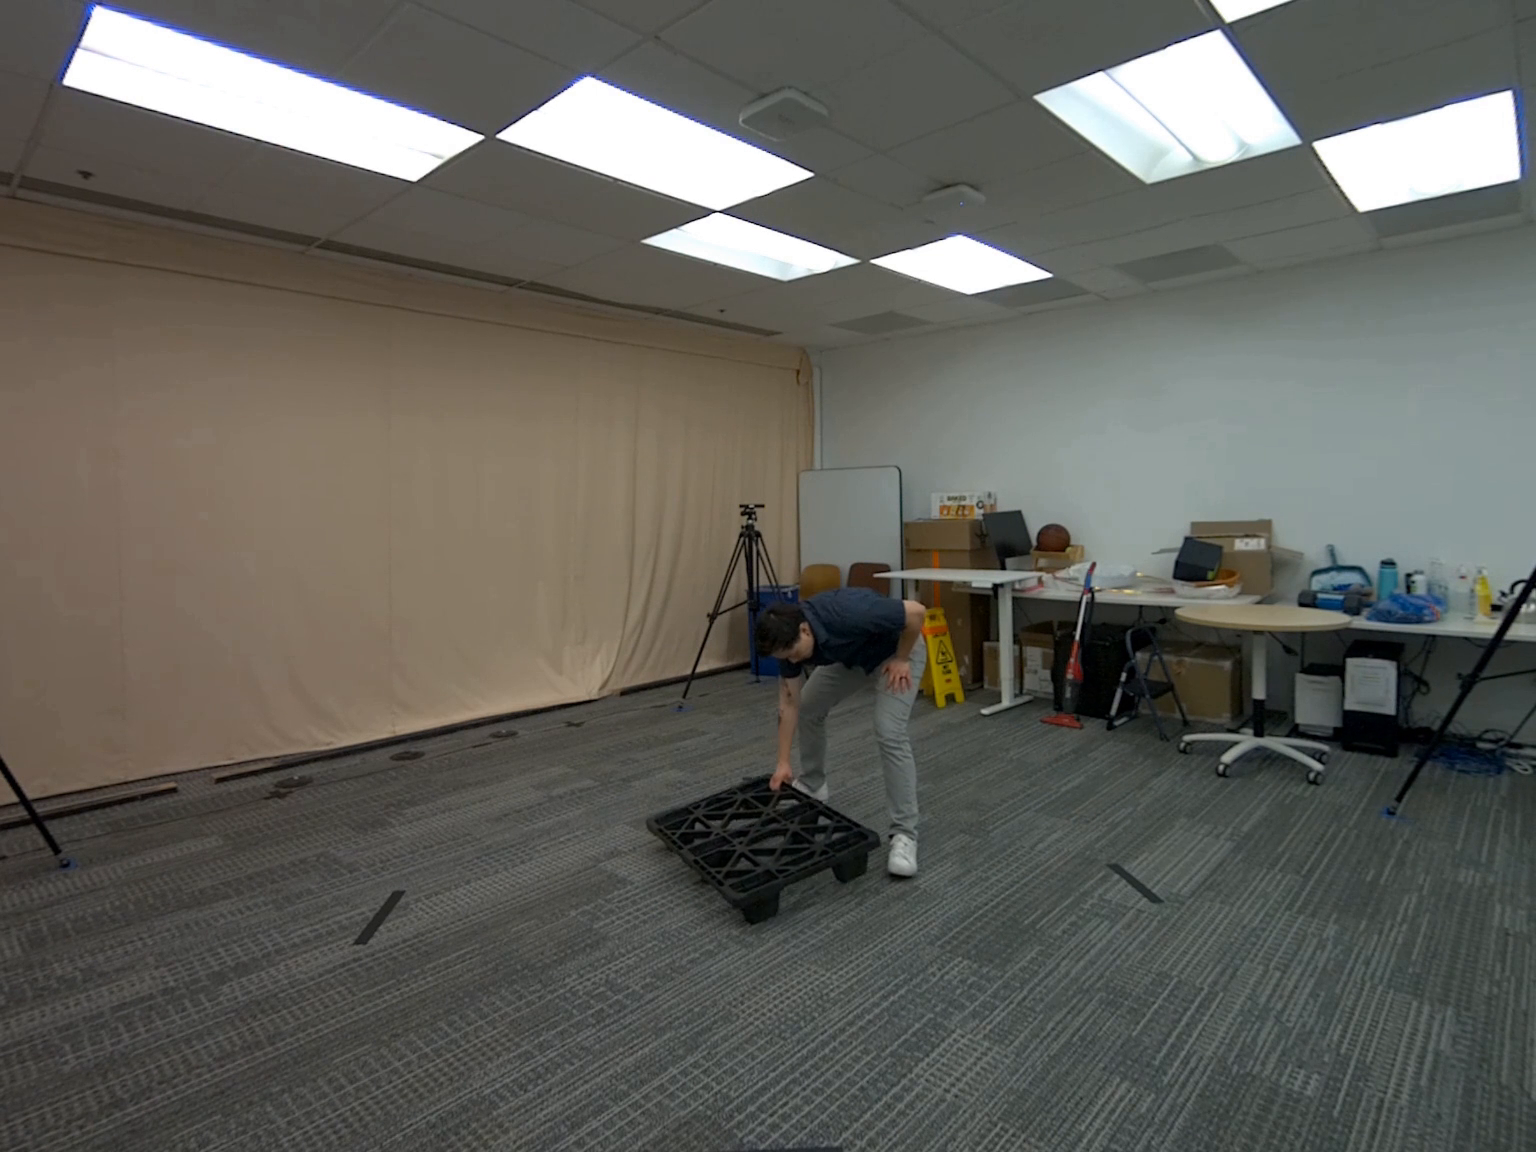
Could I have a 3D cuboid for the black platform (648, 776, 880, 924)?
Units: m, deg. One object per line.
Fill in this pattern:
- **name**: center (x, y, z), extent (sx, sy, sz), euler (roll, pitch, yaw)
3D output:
- **black platform**: center (-0.039, 1.015, 3.219), extent (0.592, 0.142, 0.828), euler (-14, 11, -27)
